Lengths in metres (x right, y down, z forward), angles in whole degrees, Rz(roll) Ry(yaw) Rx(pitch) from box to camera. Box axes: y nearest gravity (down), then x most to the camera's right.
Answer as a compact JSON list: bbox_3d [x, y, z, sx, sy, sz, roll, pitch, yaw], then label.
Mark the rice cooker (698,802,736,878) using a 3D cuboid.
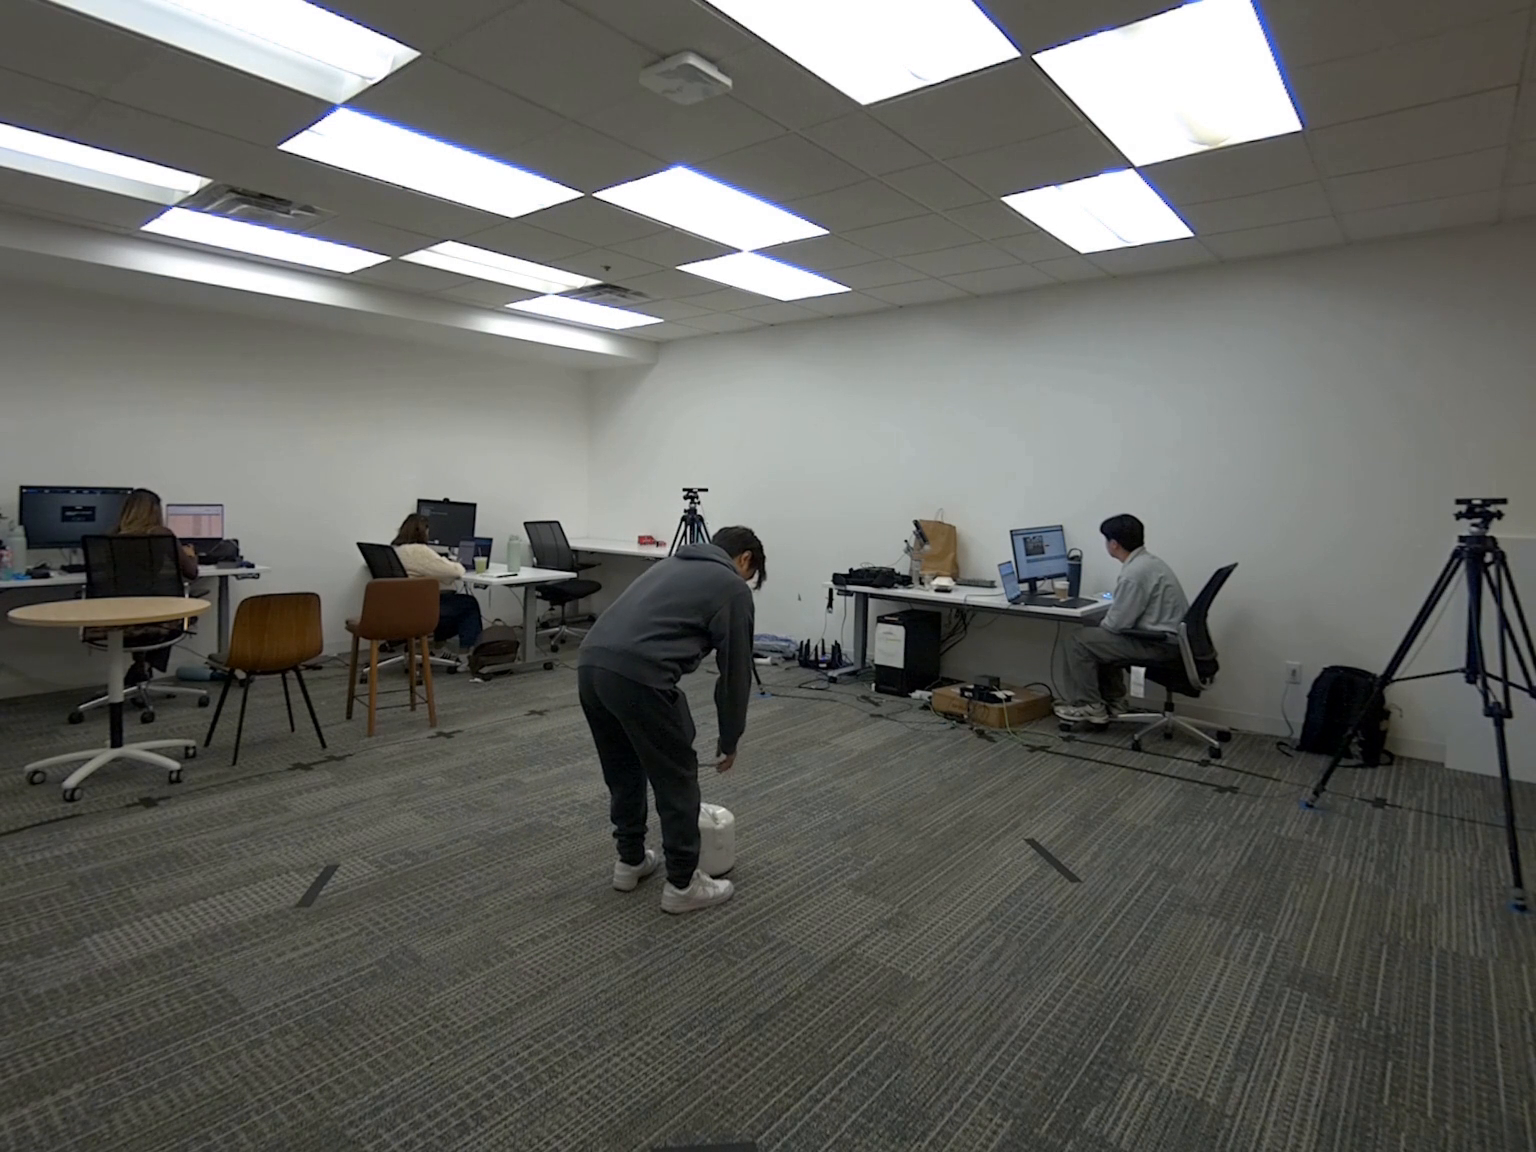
[{"bbox_3d":[-0.235,0.950,3.121,0.212,0.232,0.227,-2,5,-28],"label":"rice cooker"}]
